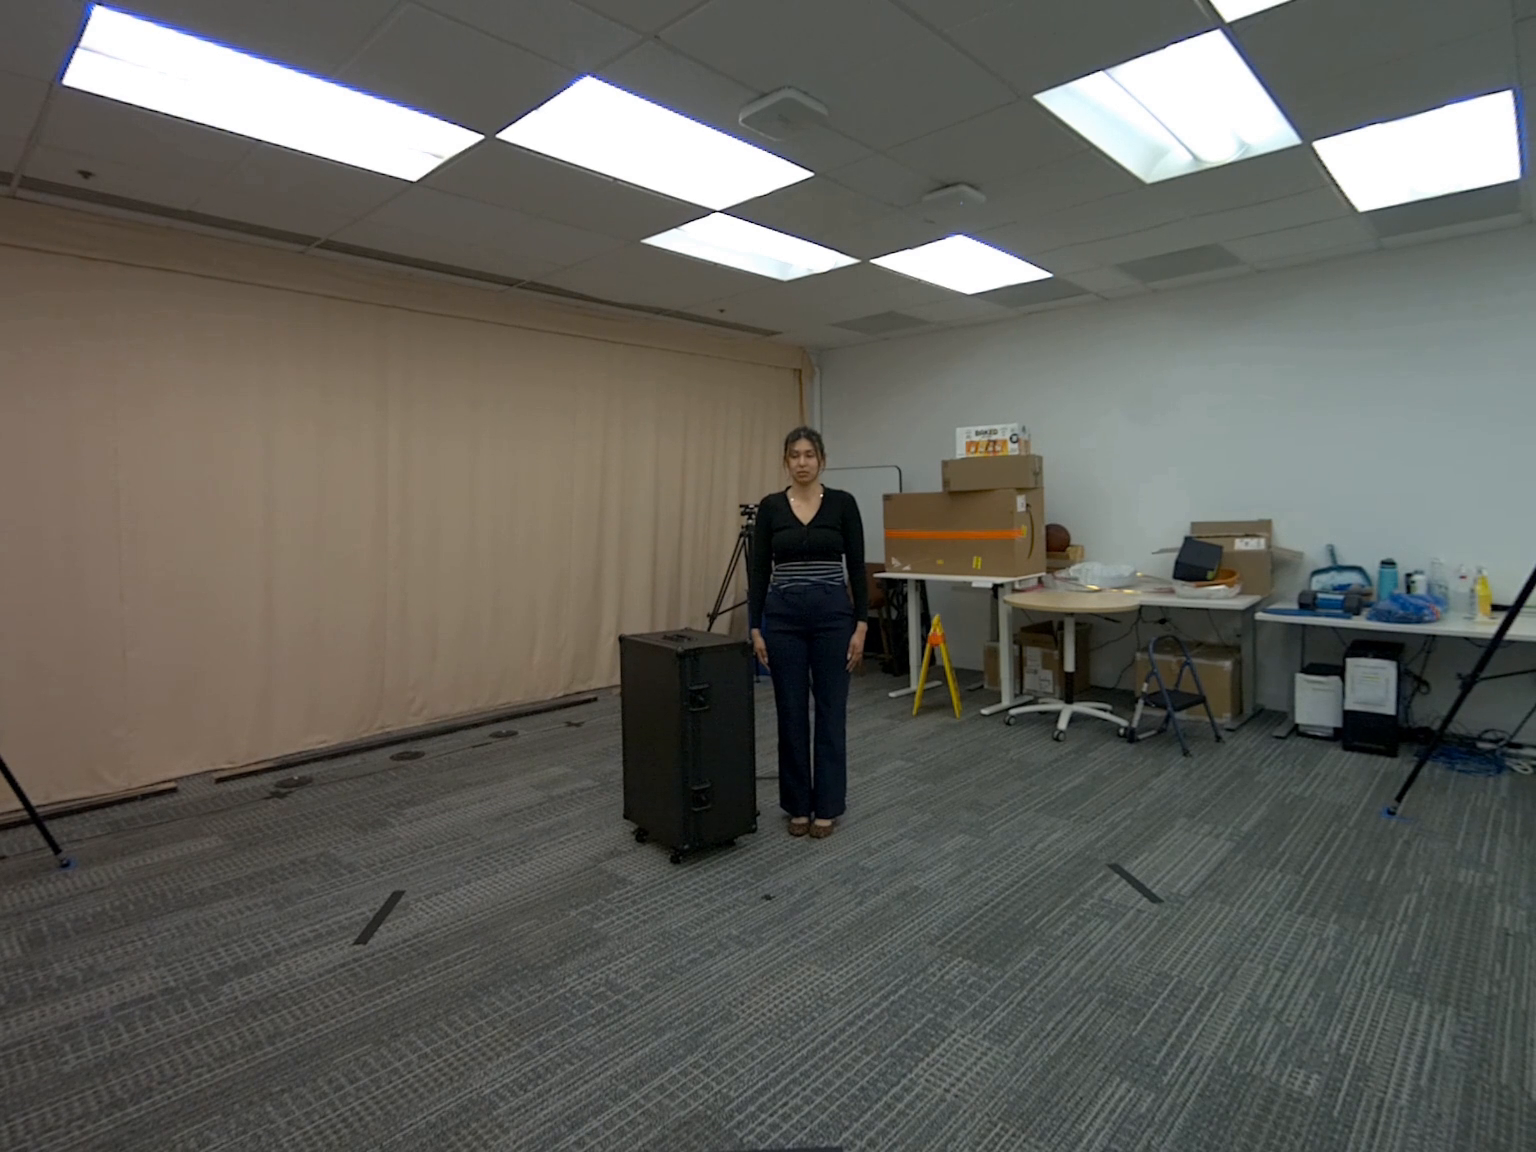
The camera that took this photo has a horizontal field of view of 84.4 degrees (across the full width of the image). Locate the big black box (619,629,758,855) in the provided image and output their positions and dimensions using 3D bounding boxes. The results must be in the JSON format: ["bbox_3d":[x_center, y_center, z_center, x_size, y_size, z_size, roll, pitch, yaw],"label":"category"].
[{"bbox_3d":[-0.333,0.676,3.490,0.384,0.860,0.537,-2,3,-36],"label":"big black box"}]
